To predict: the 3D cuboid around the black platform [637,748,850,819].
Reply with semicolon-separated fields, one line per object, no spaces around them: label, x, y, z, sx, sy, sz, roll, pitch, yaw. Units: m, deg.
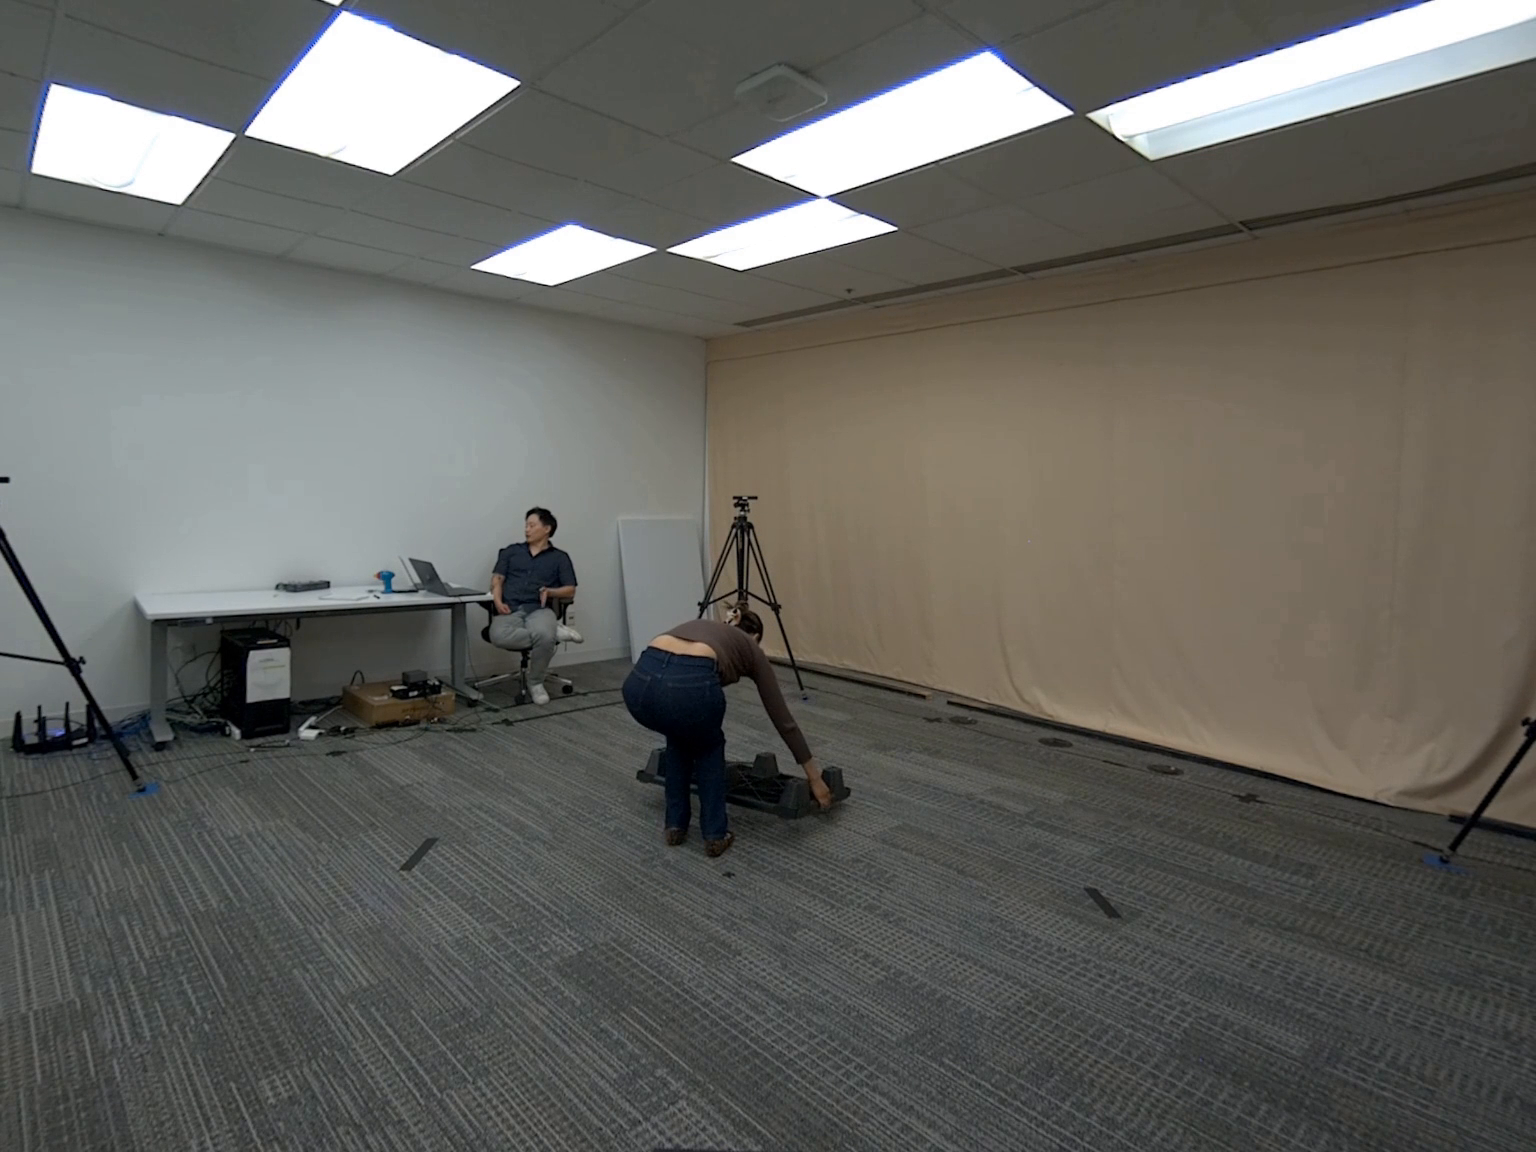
black platform;-0.103;0.899;3.813;0.823;0.143;0.591;6;0;29
